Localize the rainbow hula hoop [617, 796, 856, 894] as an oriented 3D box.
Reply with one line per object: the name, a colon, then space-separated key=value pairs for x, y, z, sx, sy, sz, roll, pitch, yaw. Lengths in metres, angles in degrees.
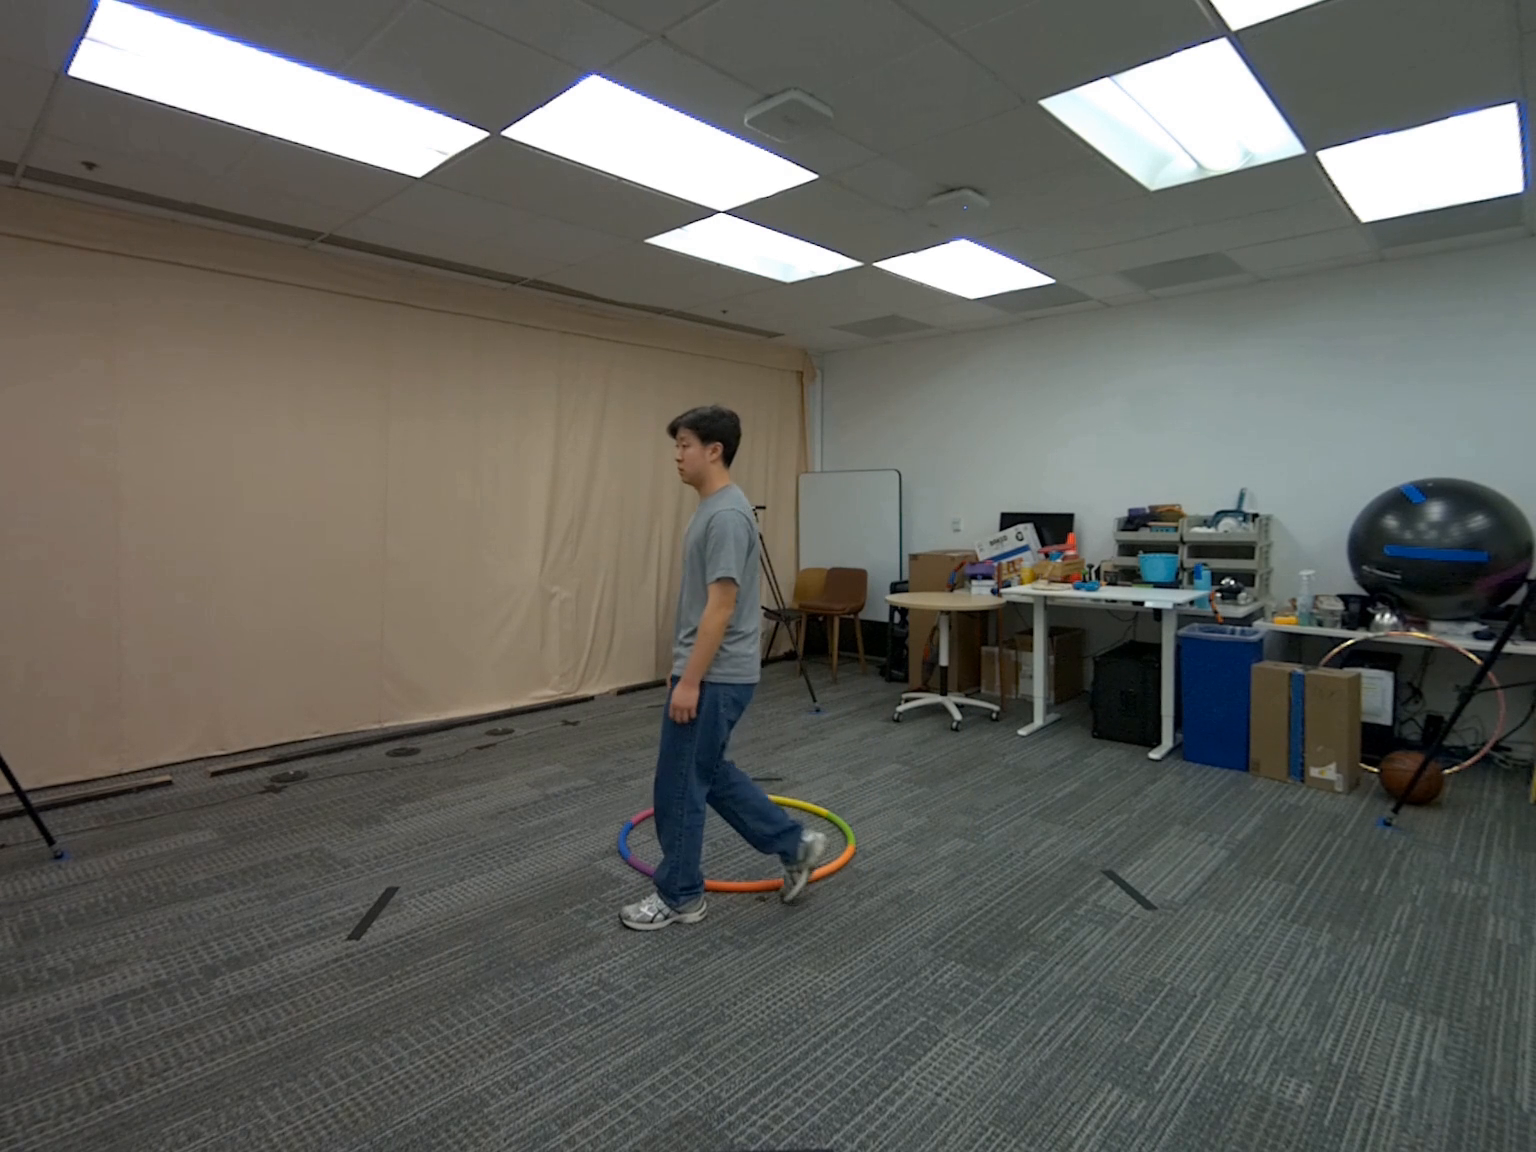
rainbow hula hoop: x=-0.131 y=1.070 z=3.508 sx=0.978 sy=0.035 sz=0.982 roll=-1 pitch=5 yaw=-2
